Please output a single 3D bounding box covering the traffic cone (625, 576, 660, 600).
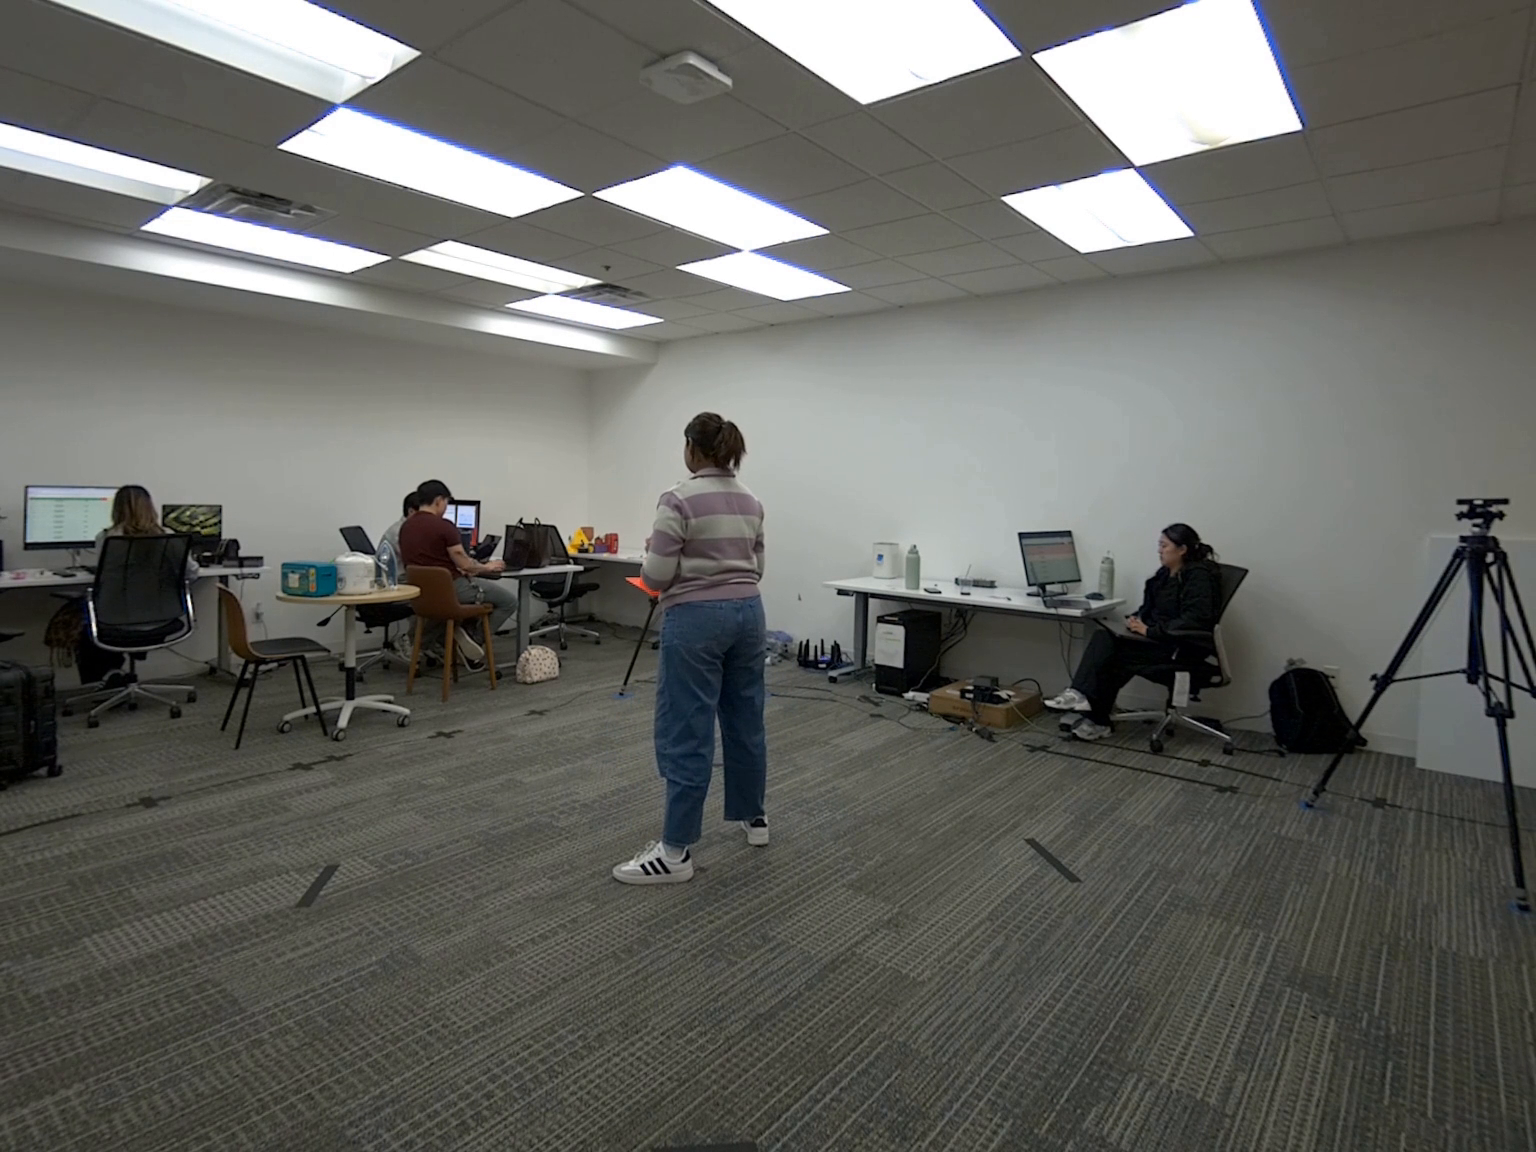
[{"bbox_3d":[-0.406,-0.142,3.370,0.208,0.380,0.202,14,13,18],"label":"traffic cone"}]
